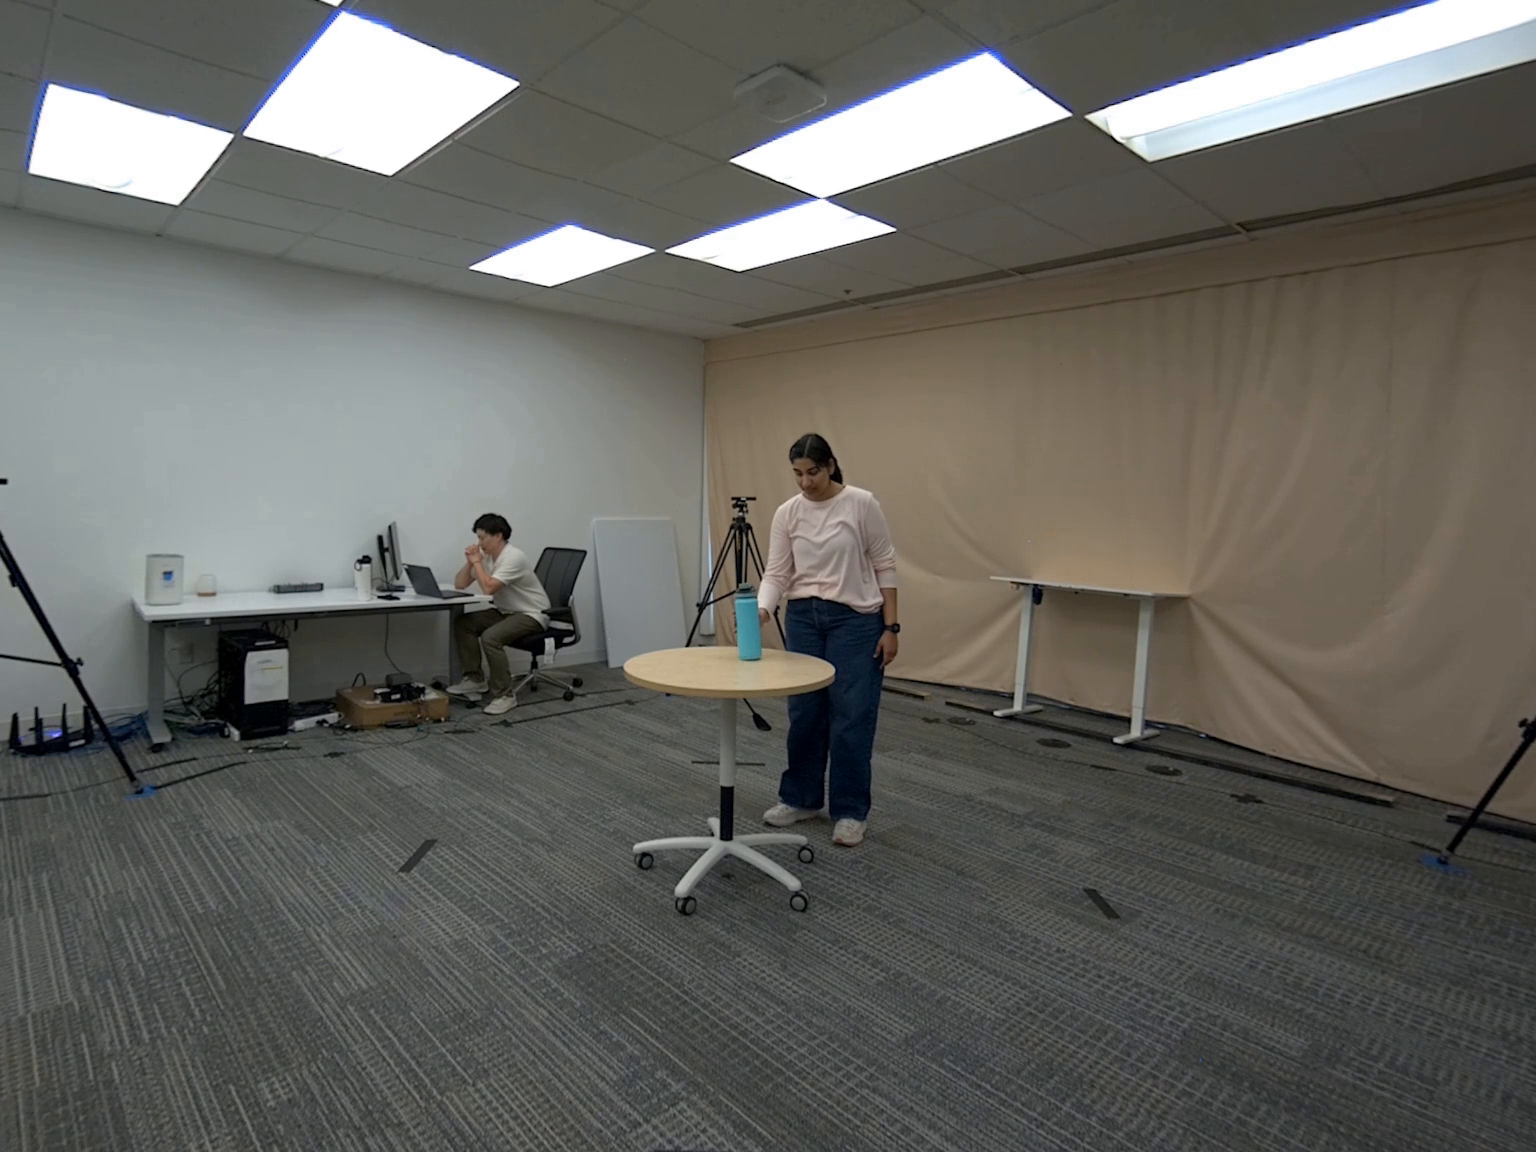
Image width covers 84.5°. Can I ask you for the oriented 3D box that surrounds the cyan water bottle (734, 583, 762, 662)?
[{"bbox_3d":[-0.084,0.175,3.193,0.092,0.283,0.092,-4,2,-1],"label":"cyan water bottle"}]
